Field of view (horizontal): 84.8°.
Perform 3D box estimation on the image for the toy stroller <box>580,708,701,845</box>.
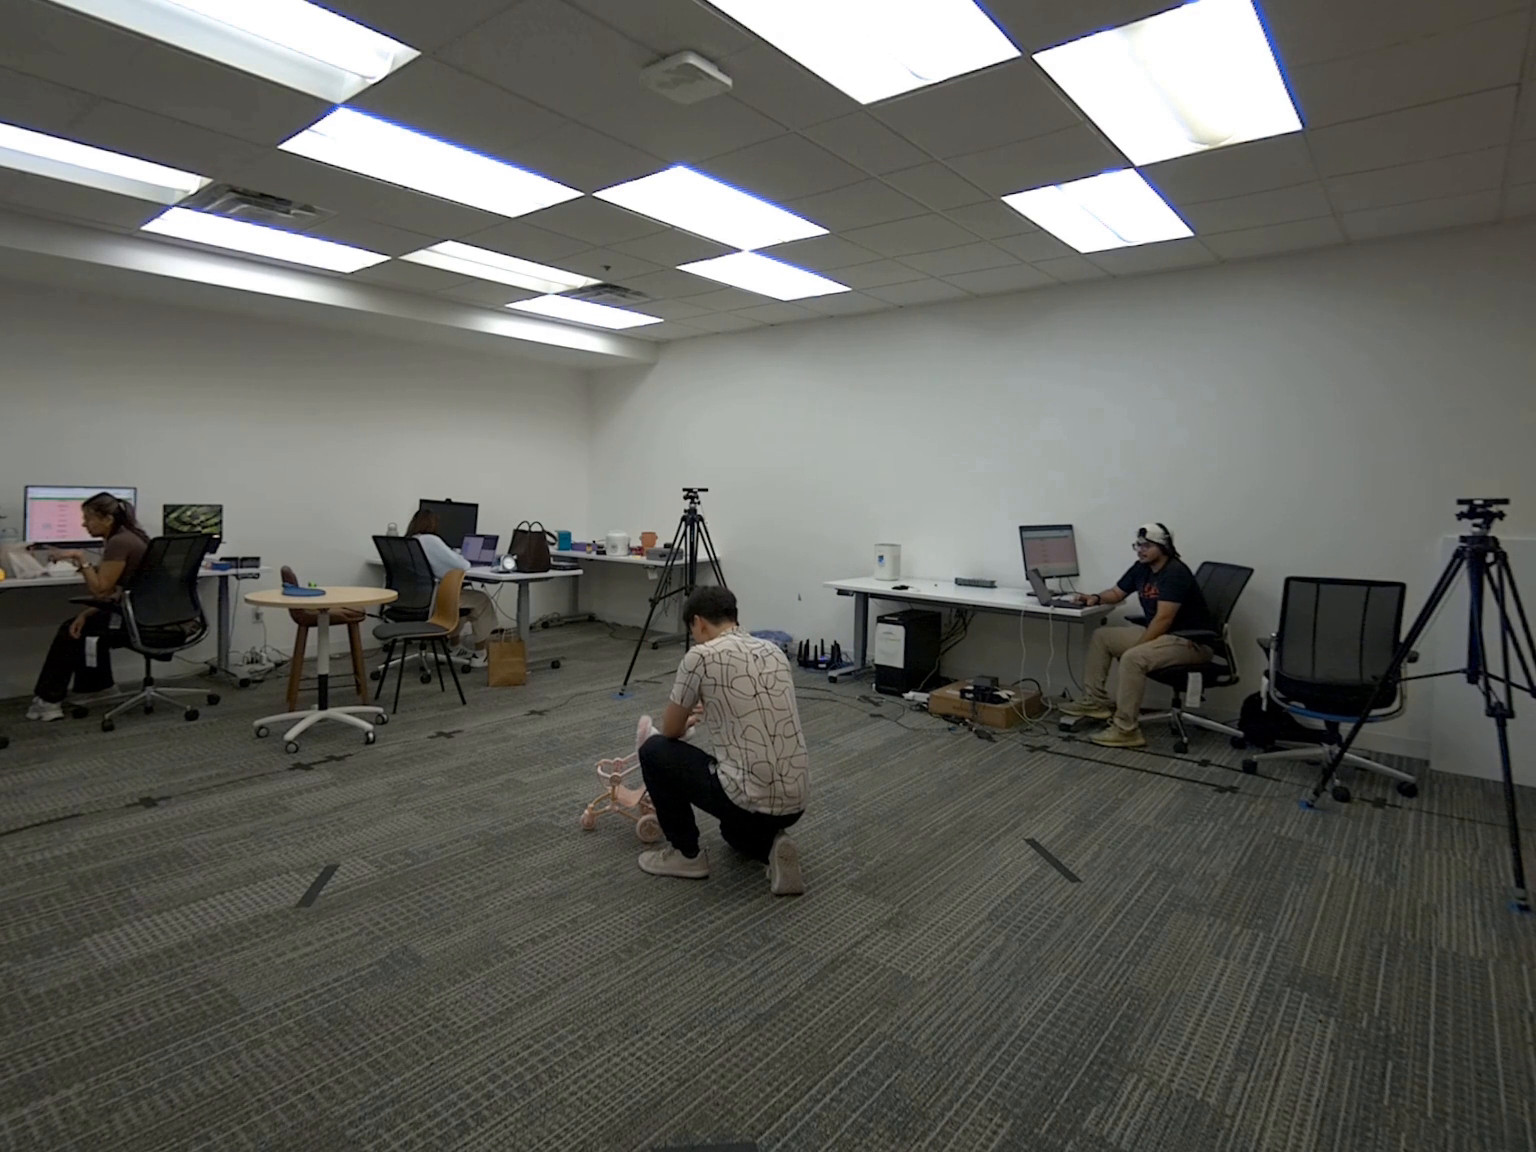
[{"bbox_3d":[-0.546,0.808,3.452,0.341,0.534,0.282,18,2,-1],"label":"toy stroller"}]
